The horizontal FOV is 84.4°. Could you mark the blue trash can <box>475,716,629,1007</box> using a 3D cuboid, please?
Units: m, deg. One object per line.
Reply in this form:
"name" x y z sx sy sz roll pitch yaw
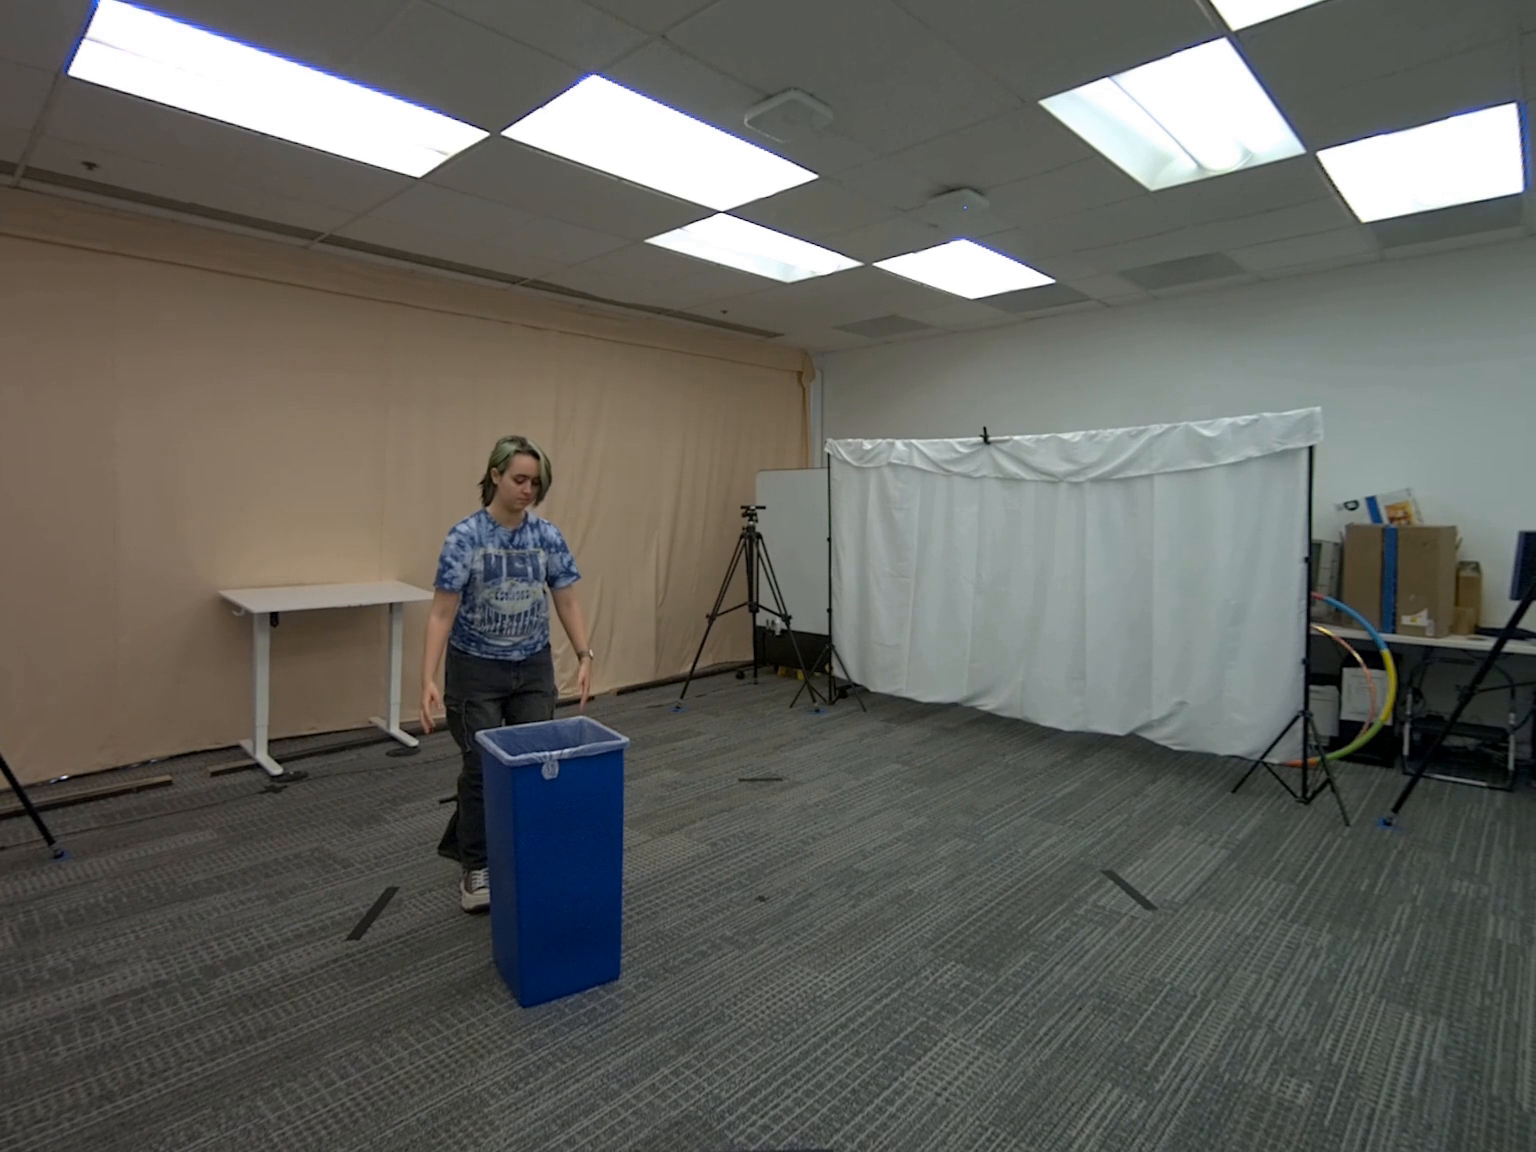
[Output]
"blue trash can" -0.649 0.833 2.519 0.367 0.712 0.385 -2 3 -33
